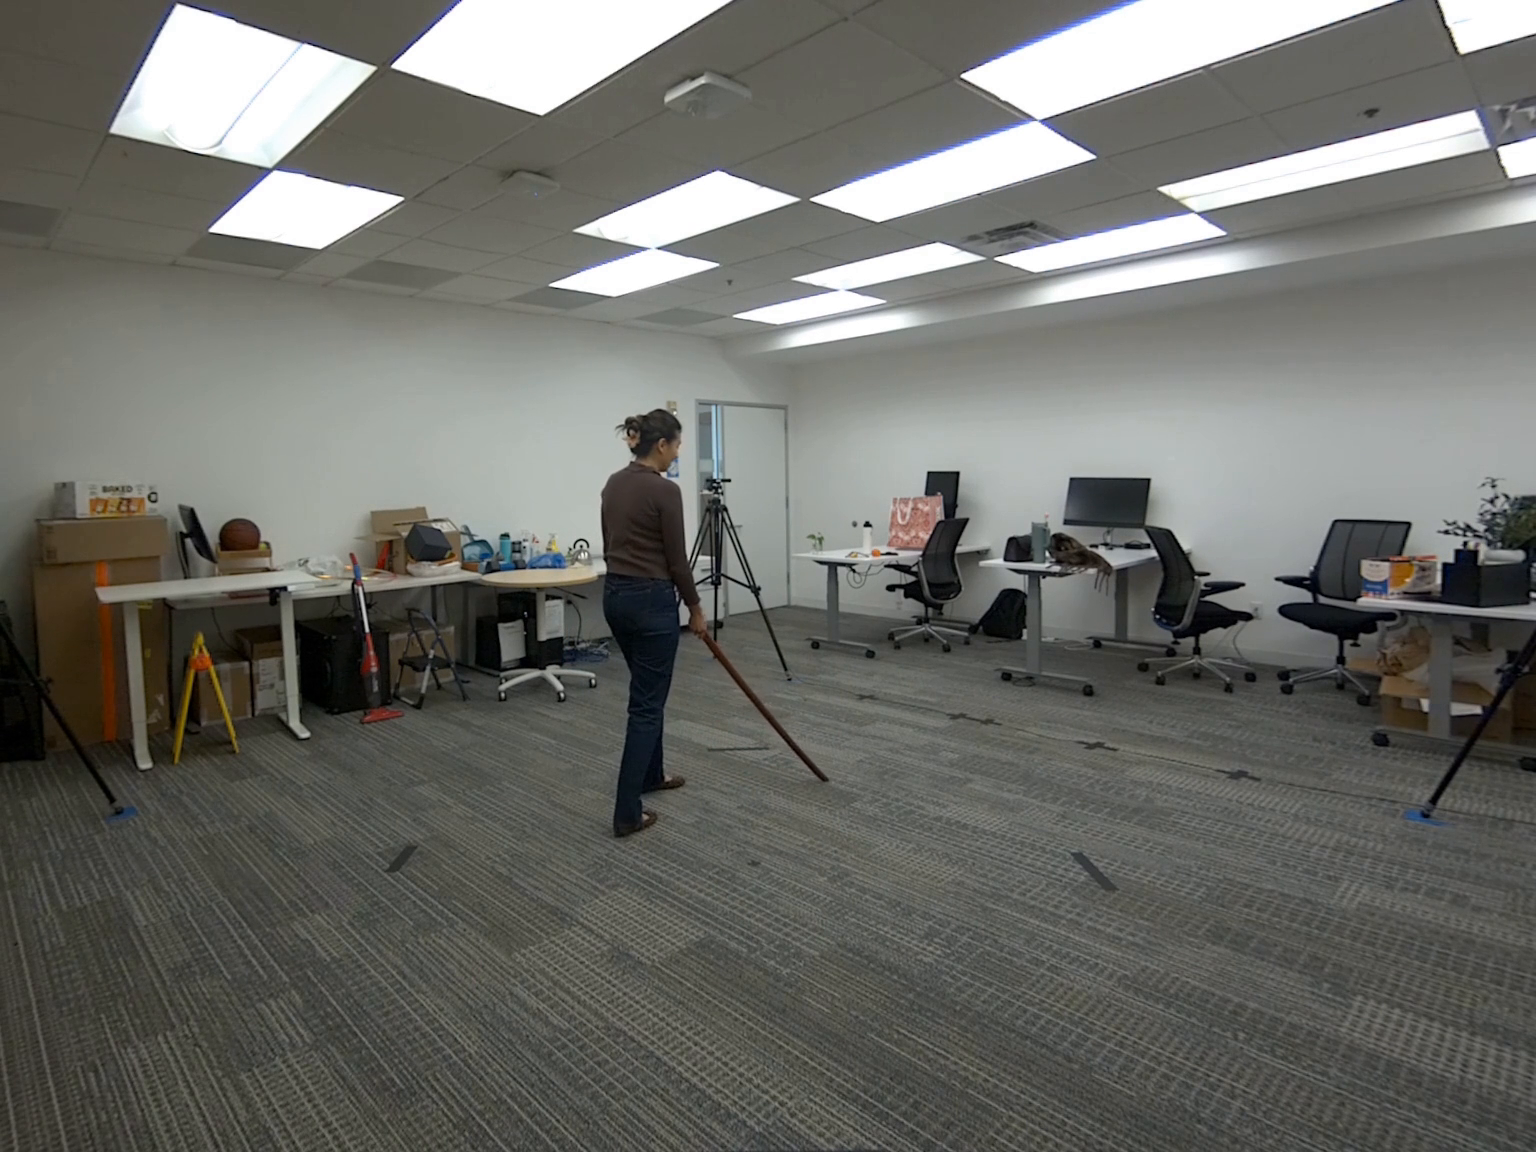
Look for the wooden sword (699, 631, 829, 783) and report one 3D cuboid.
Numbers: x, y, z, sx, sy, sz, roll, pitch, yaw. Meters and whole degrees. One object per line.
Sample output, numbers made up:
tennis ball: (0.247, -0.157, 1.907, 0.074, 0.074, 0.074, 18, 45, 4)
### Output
wooden sword: (-0.037, 0.572, 3.815, 0.052, 1.002, 0.024, -14, 30, 53)
